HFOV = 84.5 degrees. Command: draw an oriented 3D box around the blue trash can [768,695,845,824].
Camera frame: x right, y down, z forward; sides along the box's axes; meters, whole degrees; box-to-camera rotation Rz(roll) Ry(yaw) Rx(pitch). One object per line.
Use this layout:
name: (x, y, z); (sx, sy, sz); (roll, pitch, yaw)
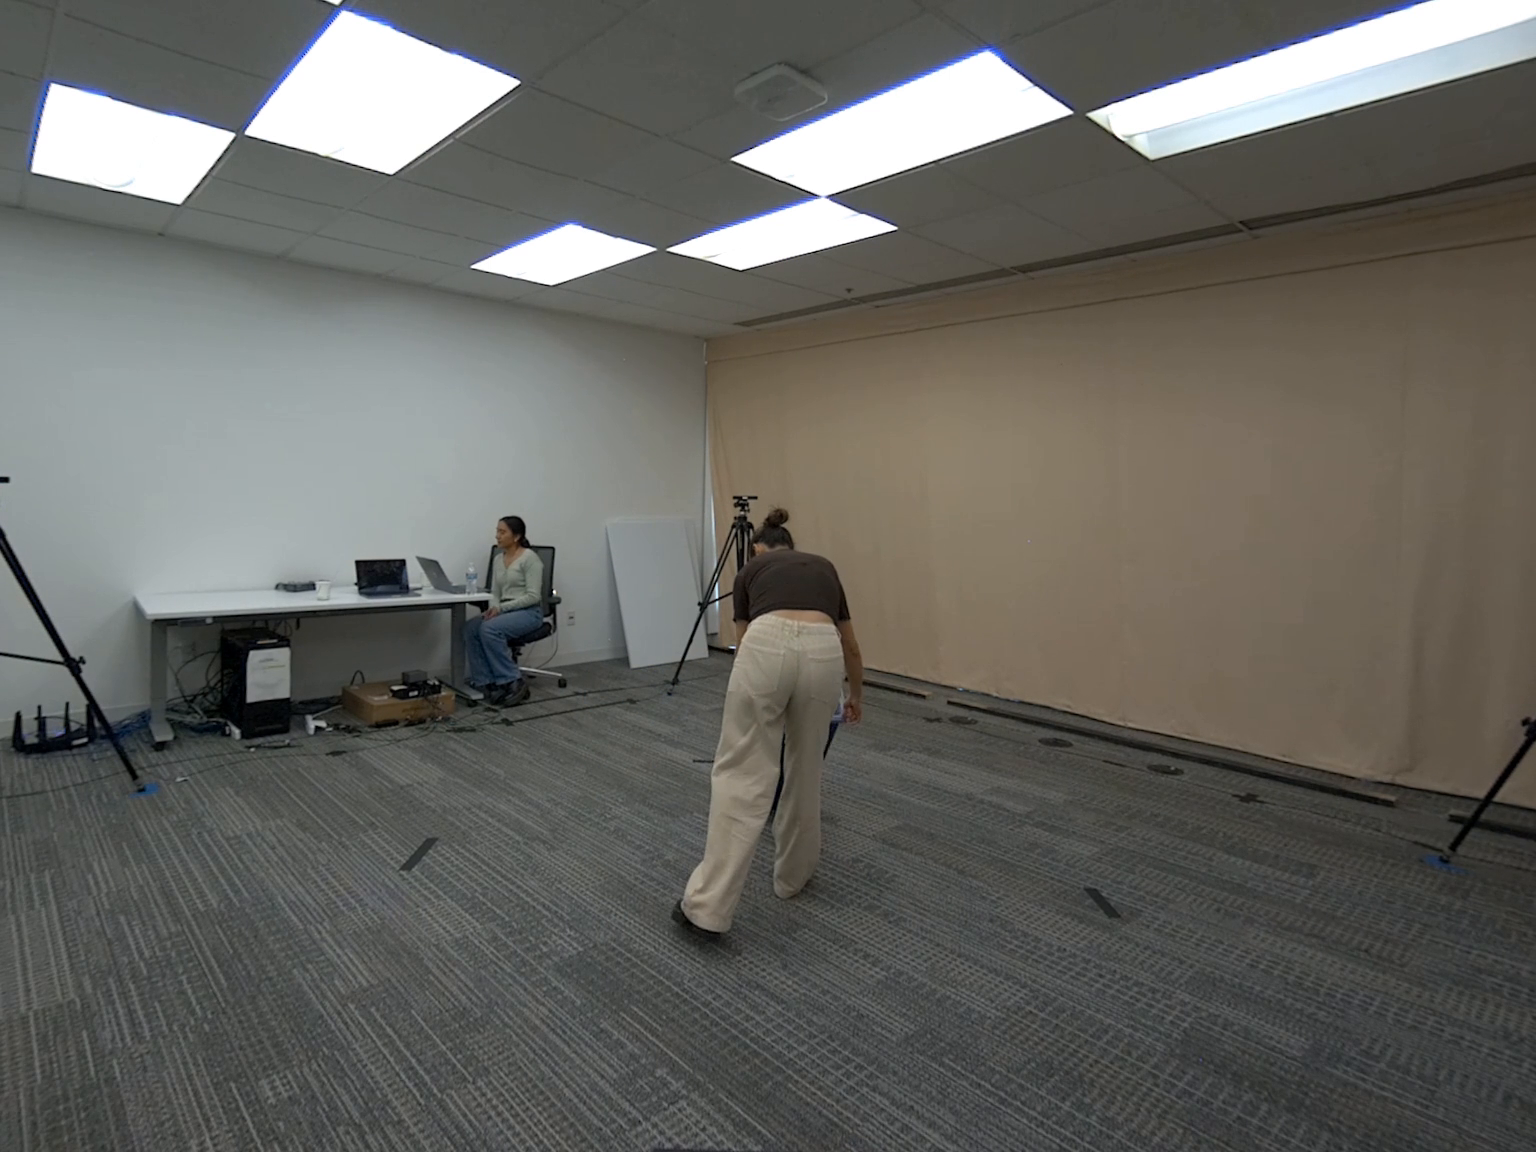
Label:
blue trash can: (0.046, 0.696, 3.643); (0.375, 0.701, 0.384); (1, 42, -11)
